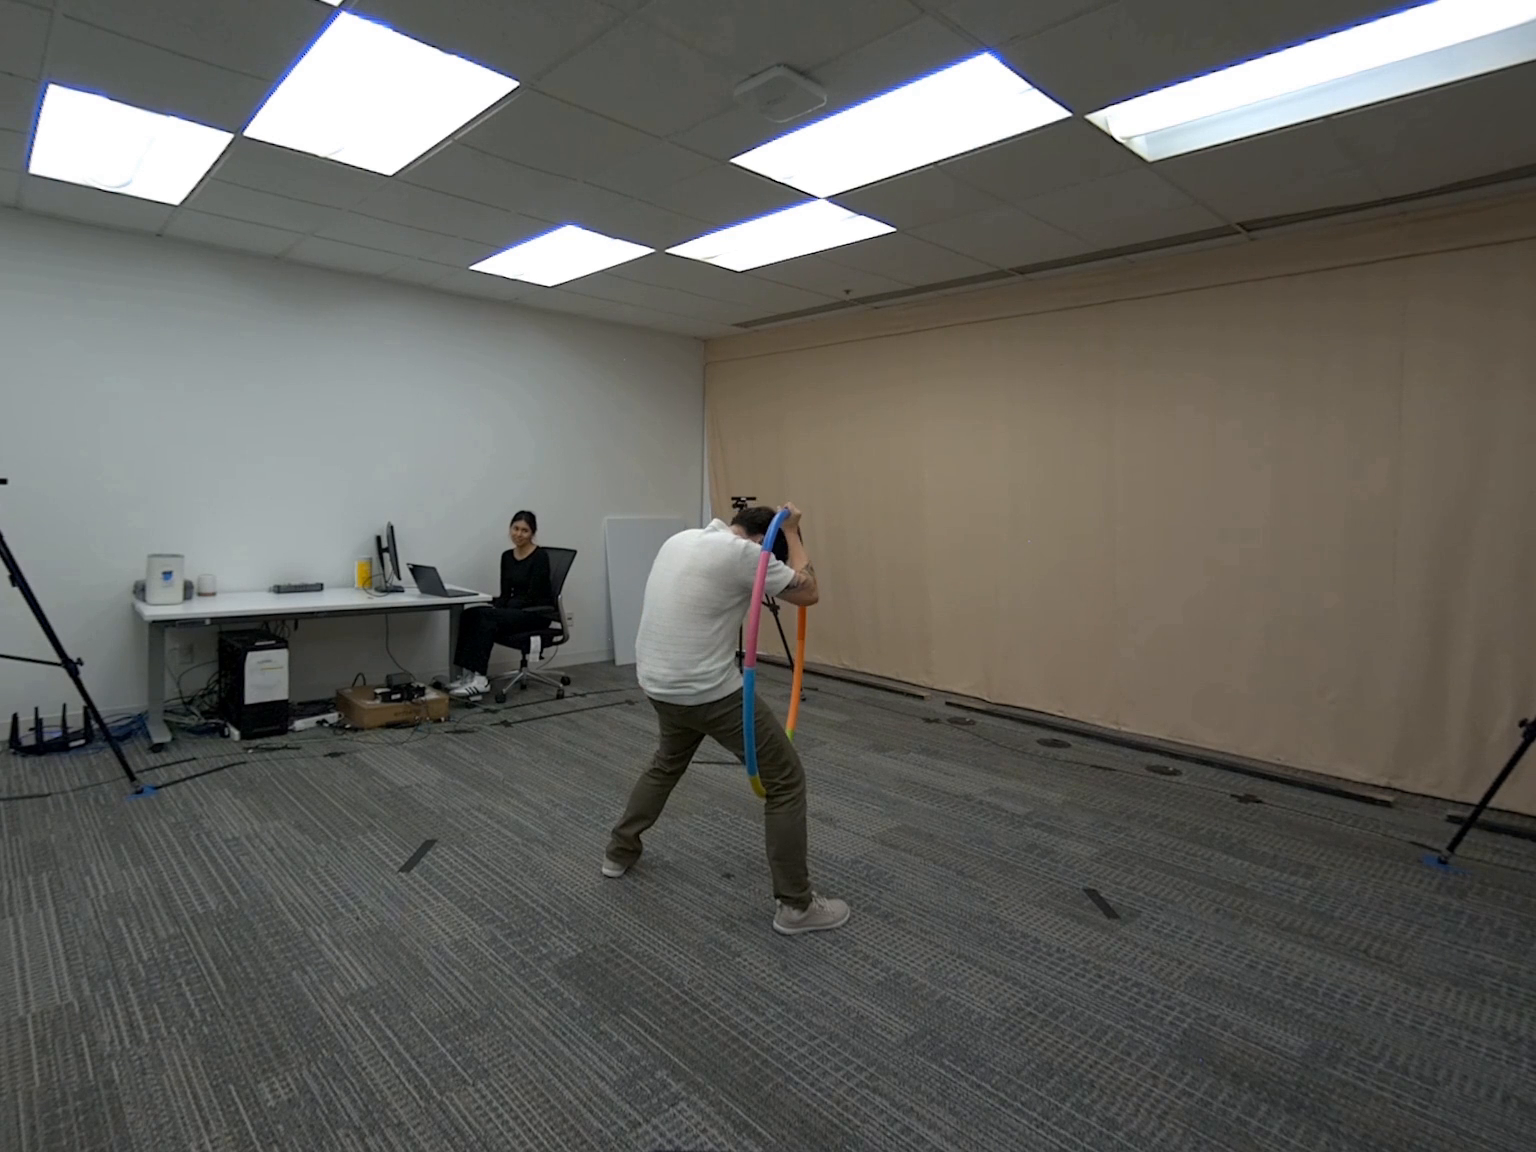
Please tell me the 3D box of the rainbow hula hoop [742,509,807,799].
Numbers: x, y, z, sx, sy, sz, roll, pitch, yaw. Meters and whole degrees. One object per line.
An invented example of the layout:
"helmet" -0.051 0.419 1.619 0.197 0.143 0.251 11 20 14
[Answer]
"rainbow hula hoop" 0.032 0.259 2.936 0.036 0.976 0.971 4 5 11
